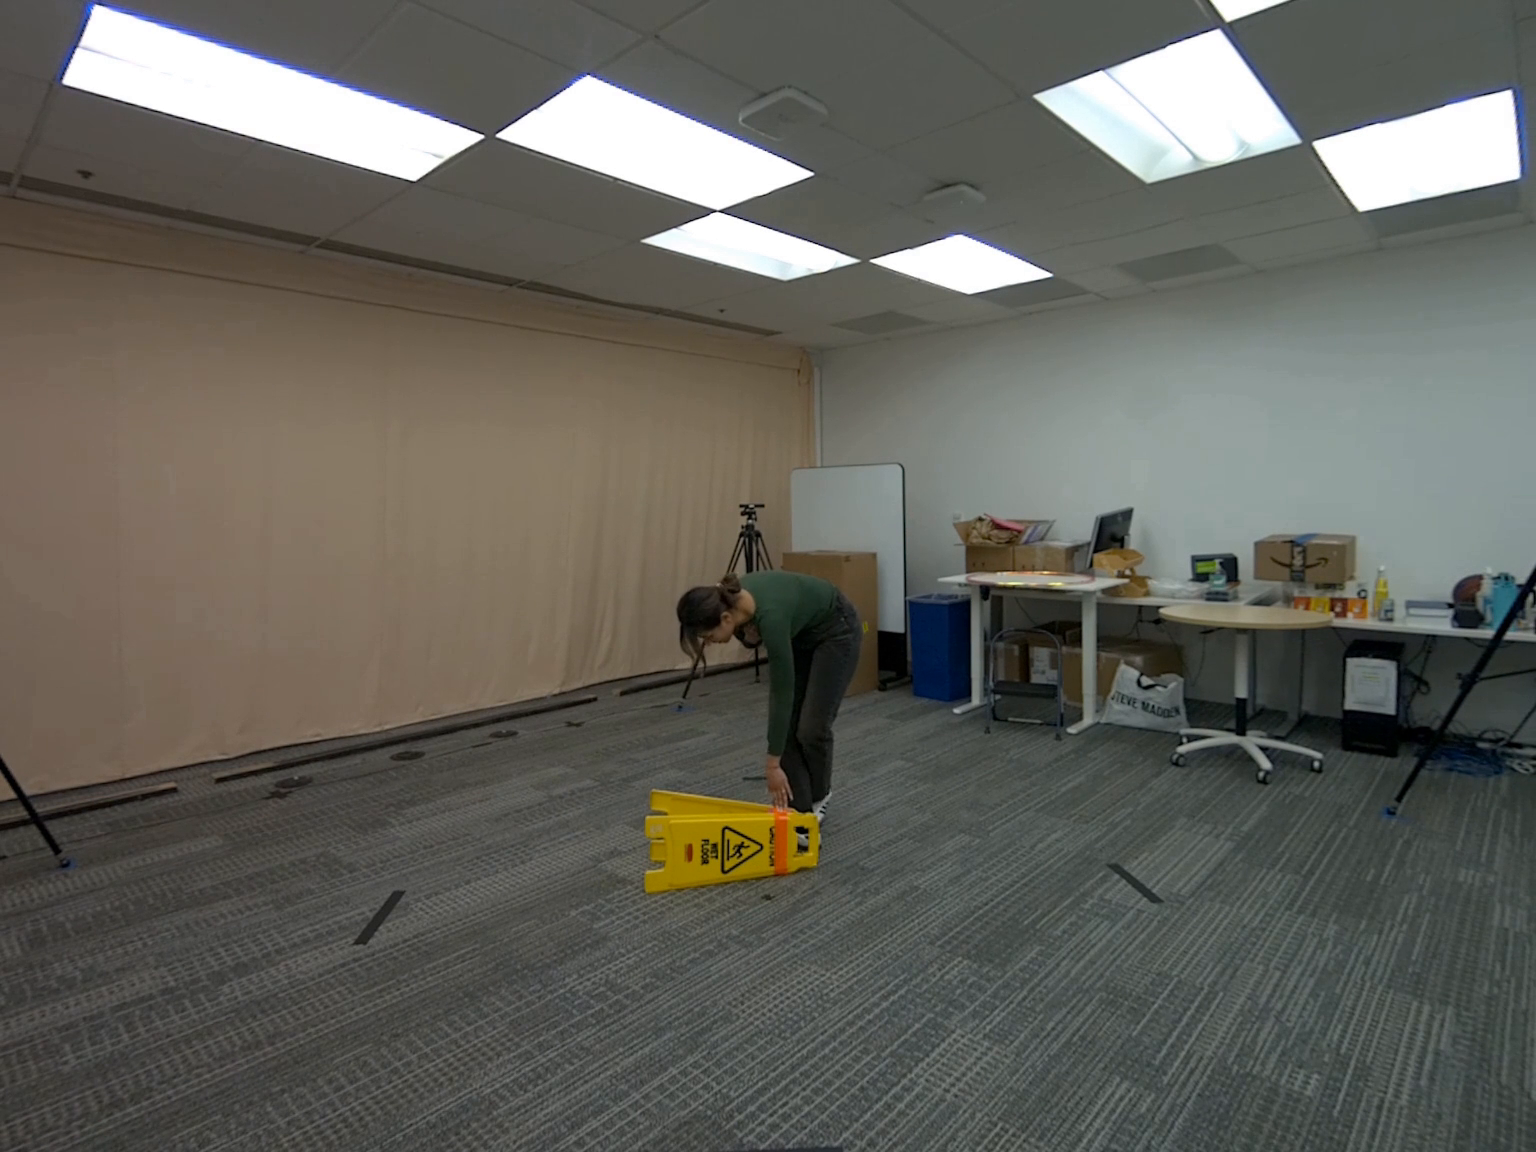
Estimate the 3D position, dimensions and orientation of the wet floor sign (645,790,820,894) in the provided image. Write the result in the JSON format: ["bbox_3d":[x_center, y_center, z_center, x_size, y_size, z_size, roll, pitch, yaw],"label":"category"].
[{"bbox_3d":[-0.128,0.991,3.180,0.645,0.282,0.291,1,4,-2],"label":"wet floor sign"}]
